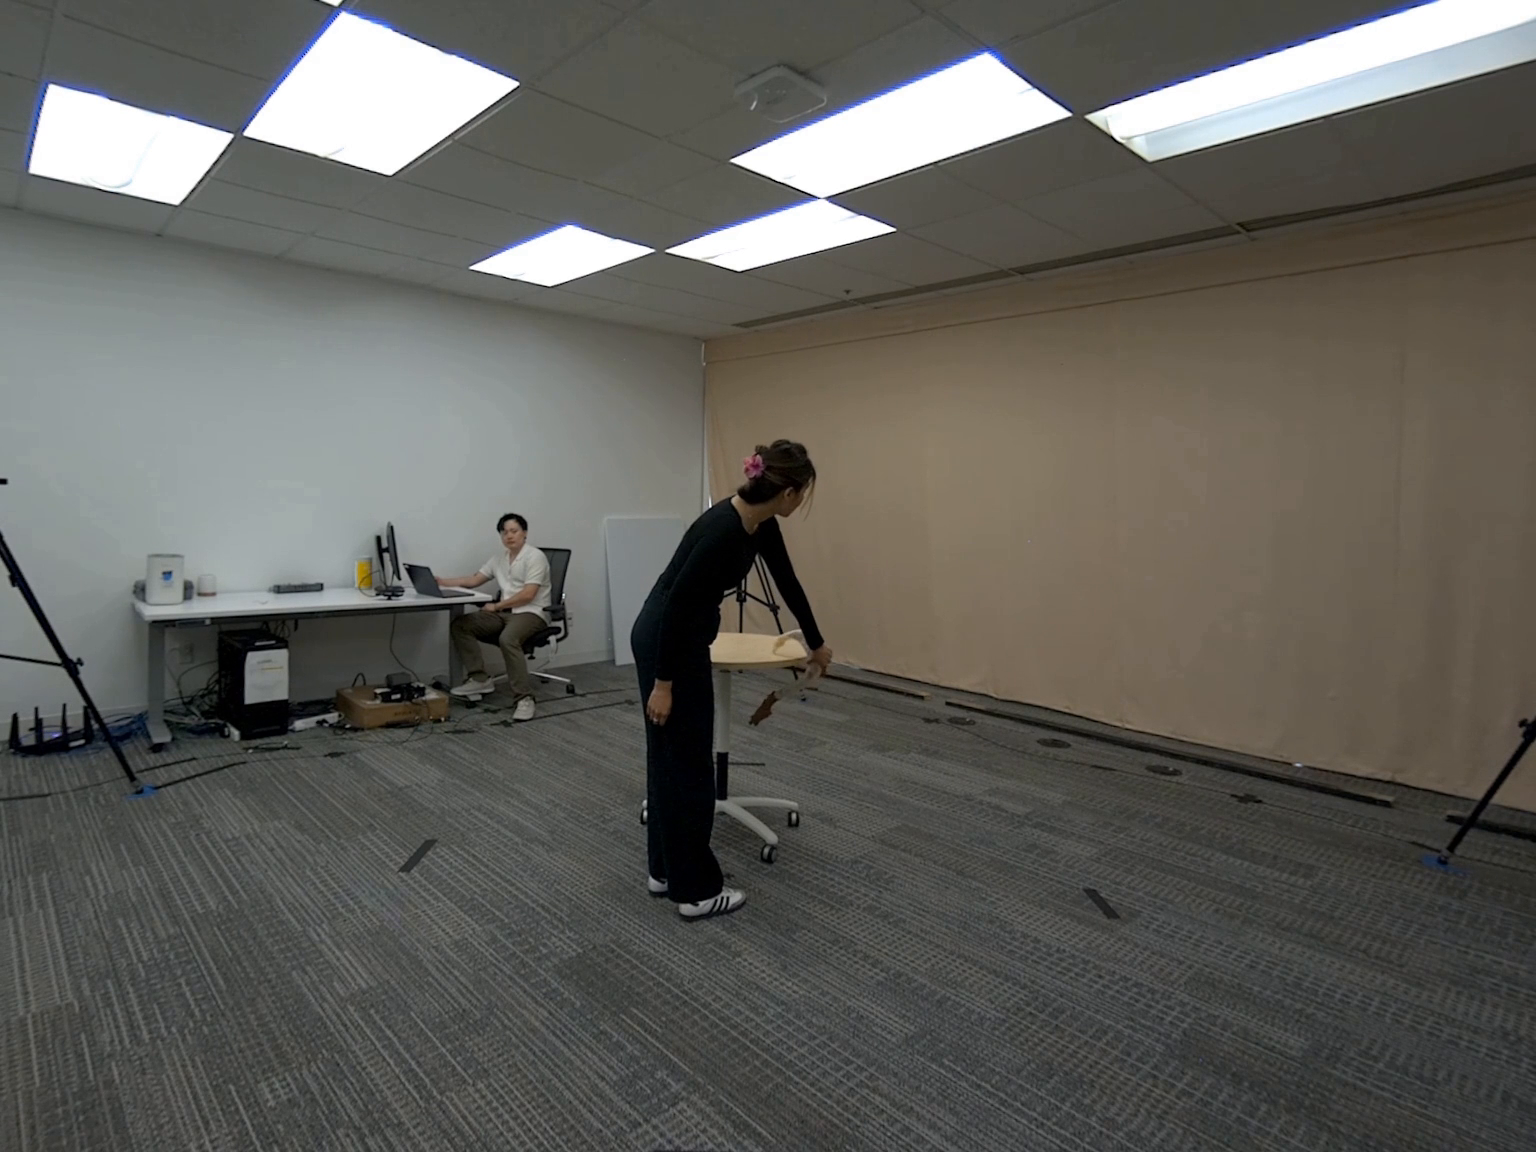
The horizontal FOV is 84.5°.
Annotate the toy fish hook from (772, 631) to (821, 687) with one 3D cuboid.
[{"bbox_3d":[0.034,0.403,3.326,0.047,0.230,0.505,-6,-37,-48],"label":"toy fish hook"}]
